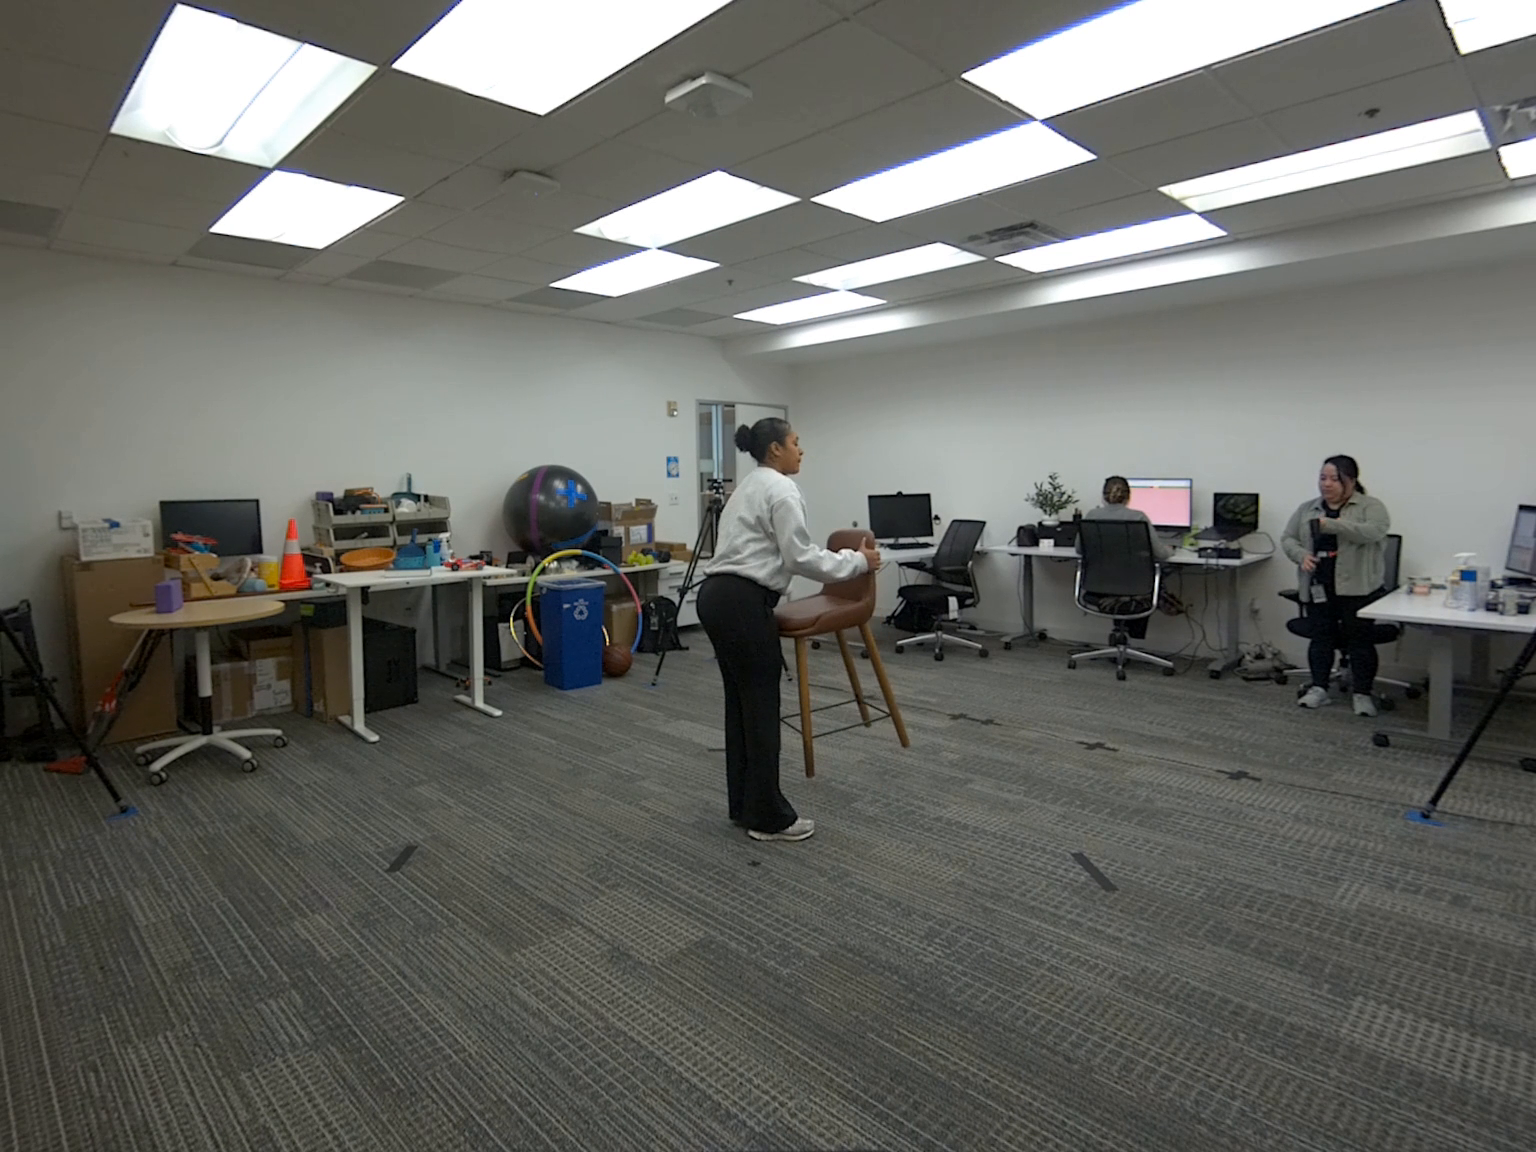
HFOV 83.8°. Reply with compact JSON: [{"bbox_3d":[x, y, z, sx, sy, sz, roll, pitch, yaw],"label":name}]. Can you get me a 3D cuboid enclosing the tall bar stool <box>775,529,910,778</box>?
[{"bbox_3d":[0.234,0.295,3.480,0.461,0.885,0.465,-10,5,-17],"label":"tall bar stool"}]
